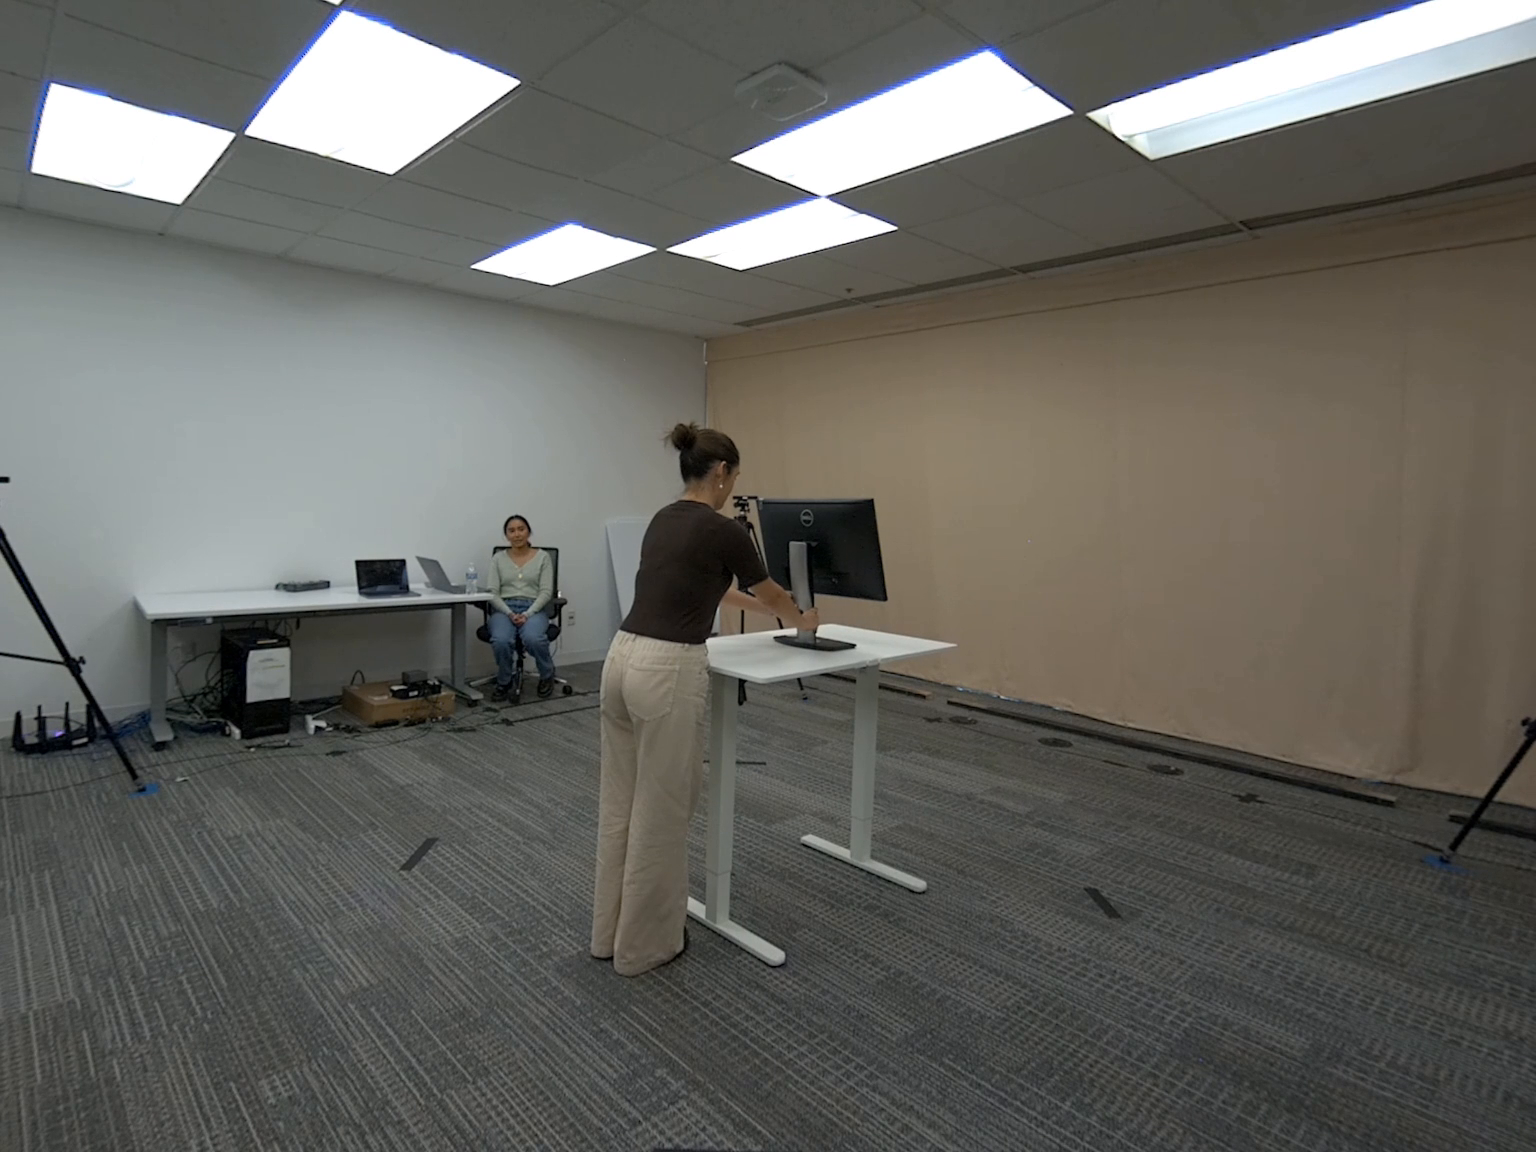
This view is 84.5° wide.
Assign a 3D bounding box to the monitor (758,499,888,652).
[{"bbox_3d":[0.155,-0.013,2.938,0.543,0.516,0.170,4,1,45],"label":"monitor"}]
